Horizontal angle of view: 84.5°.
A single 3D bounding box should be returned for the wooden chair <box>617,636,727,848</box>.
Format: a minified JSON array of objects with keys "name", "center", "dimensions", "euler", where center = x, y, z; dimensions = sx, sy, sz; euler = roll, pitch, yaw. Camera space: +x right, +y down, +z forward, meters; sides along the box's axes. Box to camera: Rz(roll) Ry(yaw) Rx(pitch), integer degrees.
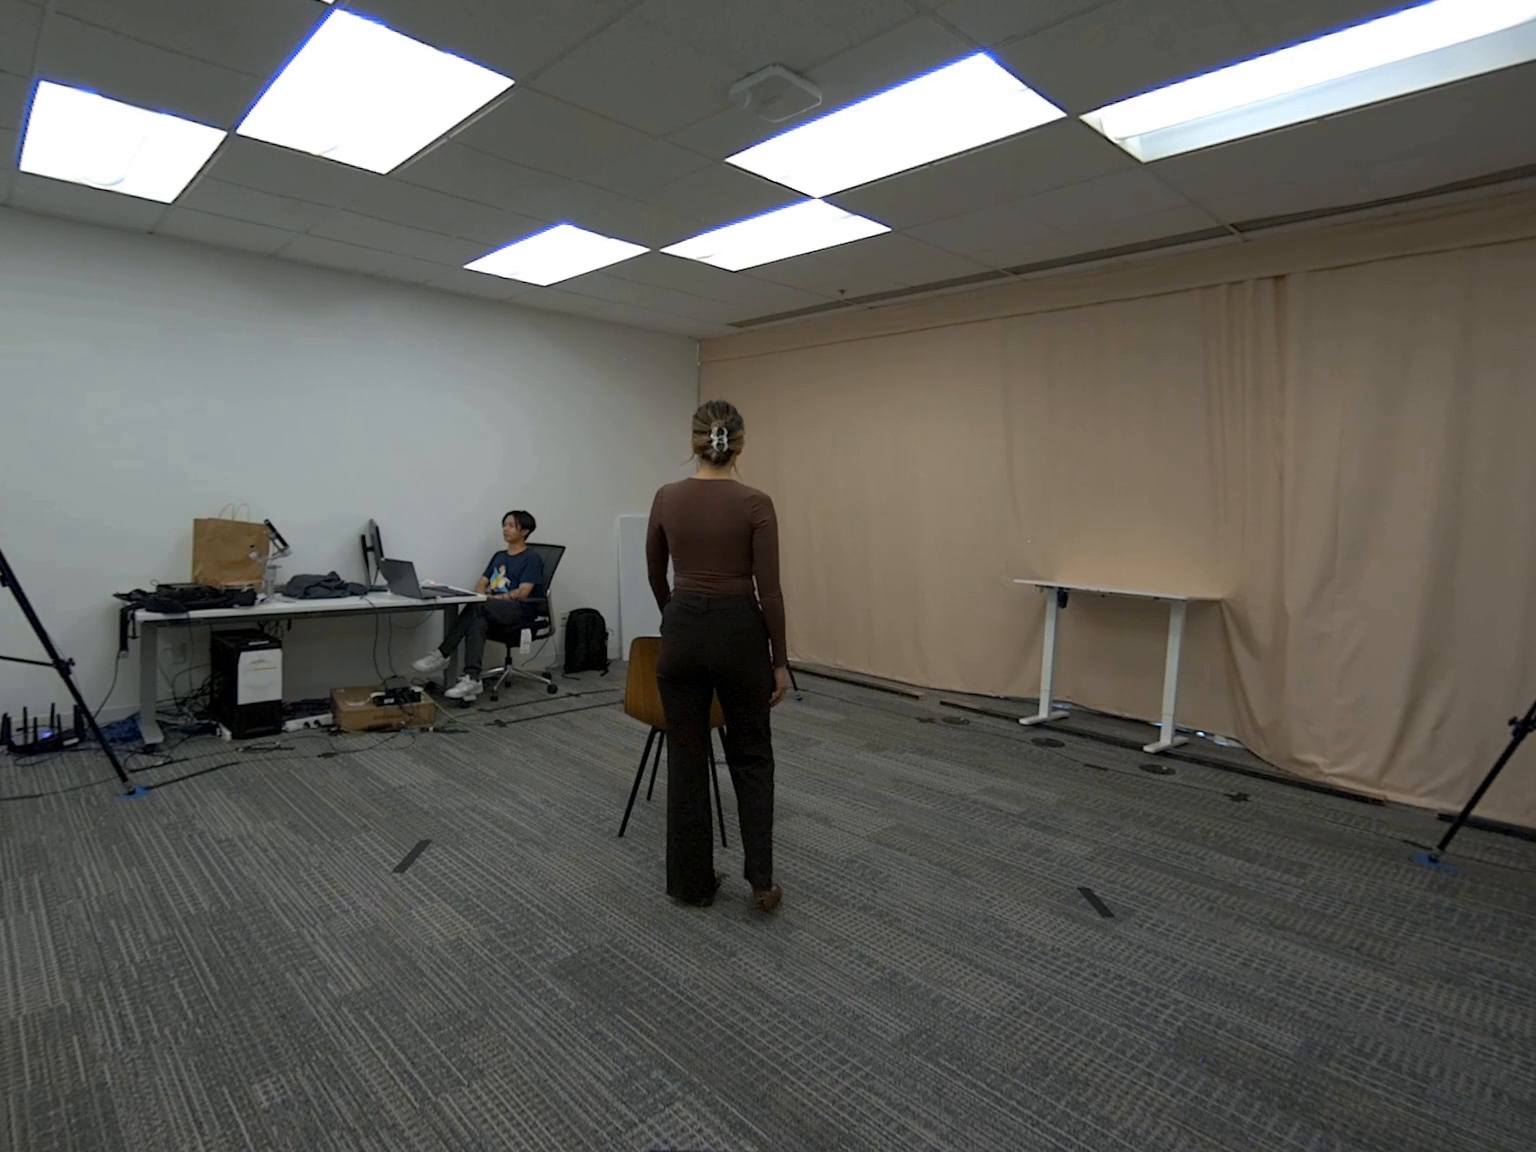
[{"name":"wooden chair","center":[-0.356,0.629,3.594],"dimensions":[0.482,0.872,0.522],"euler":[2,8,8]}]
